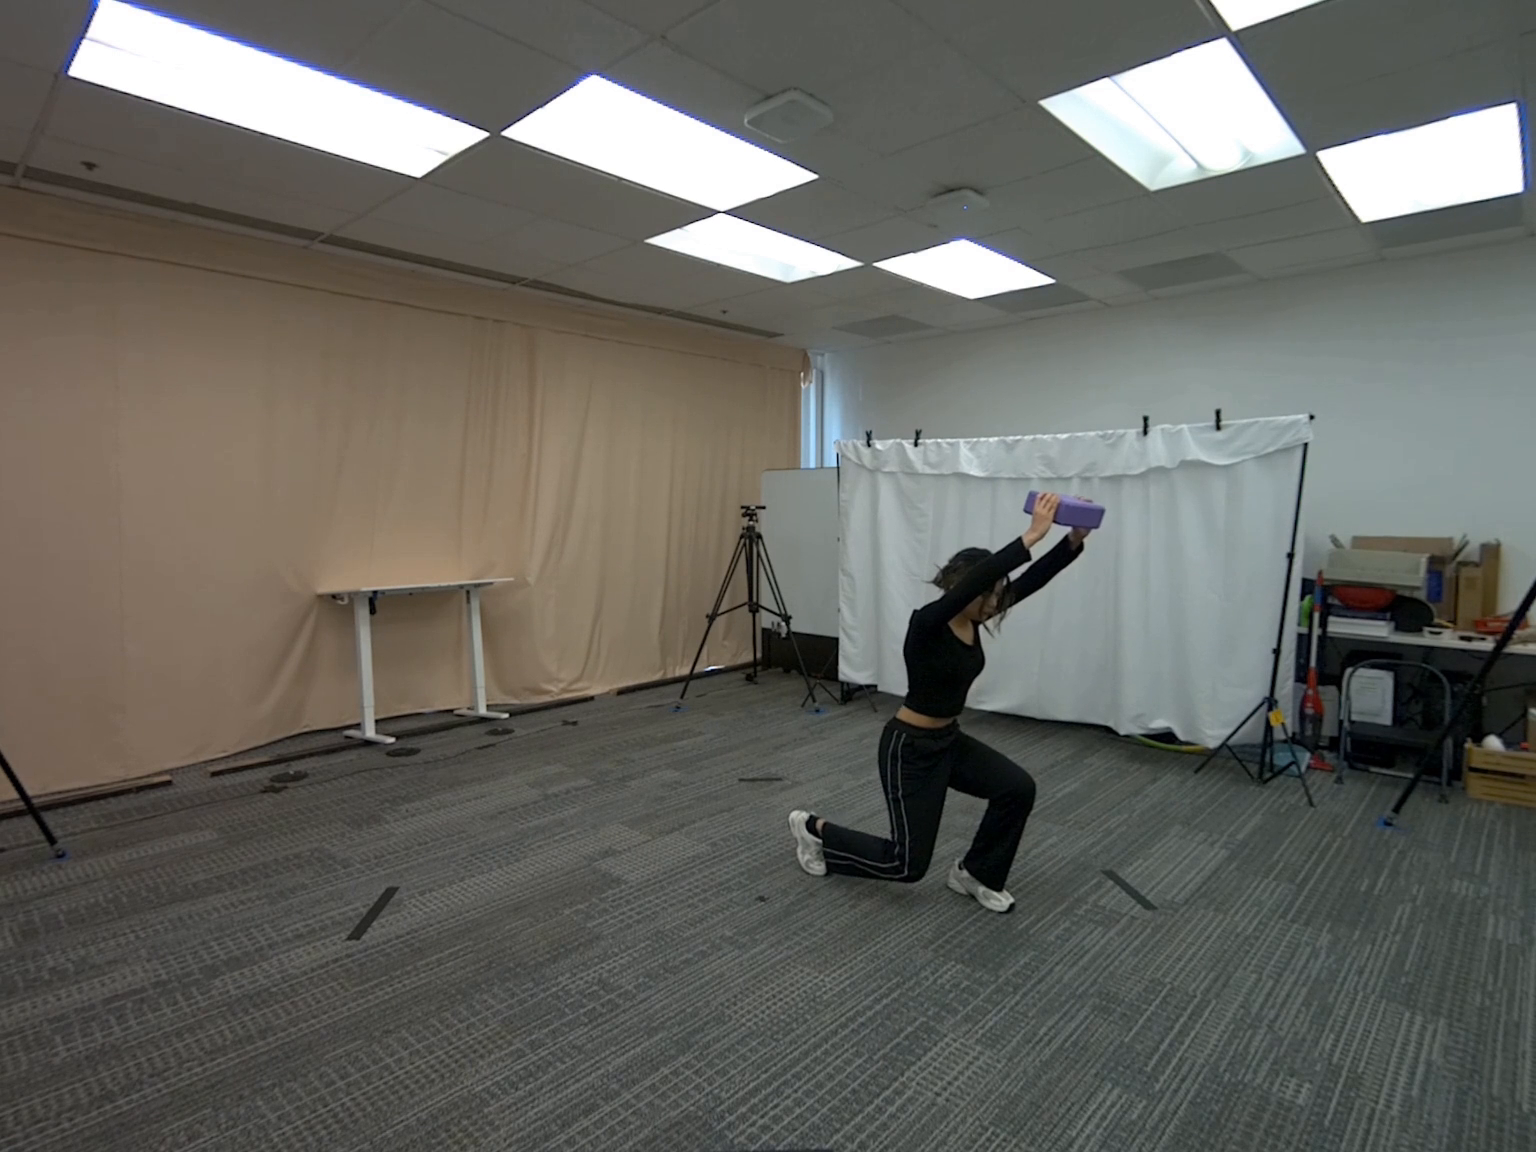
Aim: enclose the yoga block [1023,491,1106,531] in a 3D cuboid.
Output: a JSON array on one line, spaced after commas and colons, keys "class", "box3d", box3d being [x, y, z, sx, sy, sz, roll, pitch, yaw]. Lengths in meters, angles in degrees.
[{"class": "yoga block", "box3d": [0.951, -0.216, 2.674, 0.222, 0.076, 0.154, 2, 18, -38]}]
